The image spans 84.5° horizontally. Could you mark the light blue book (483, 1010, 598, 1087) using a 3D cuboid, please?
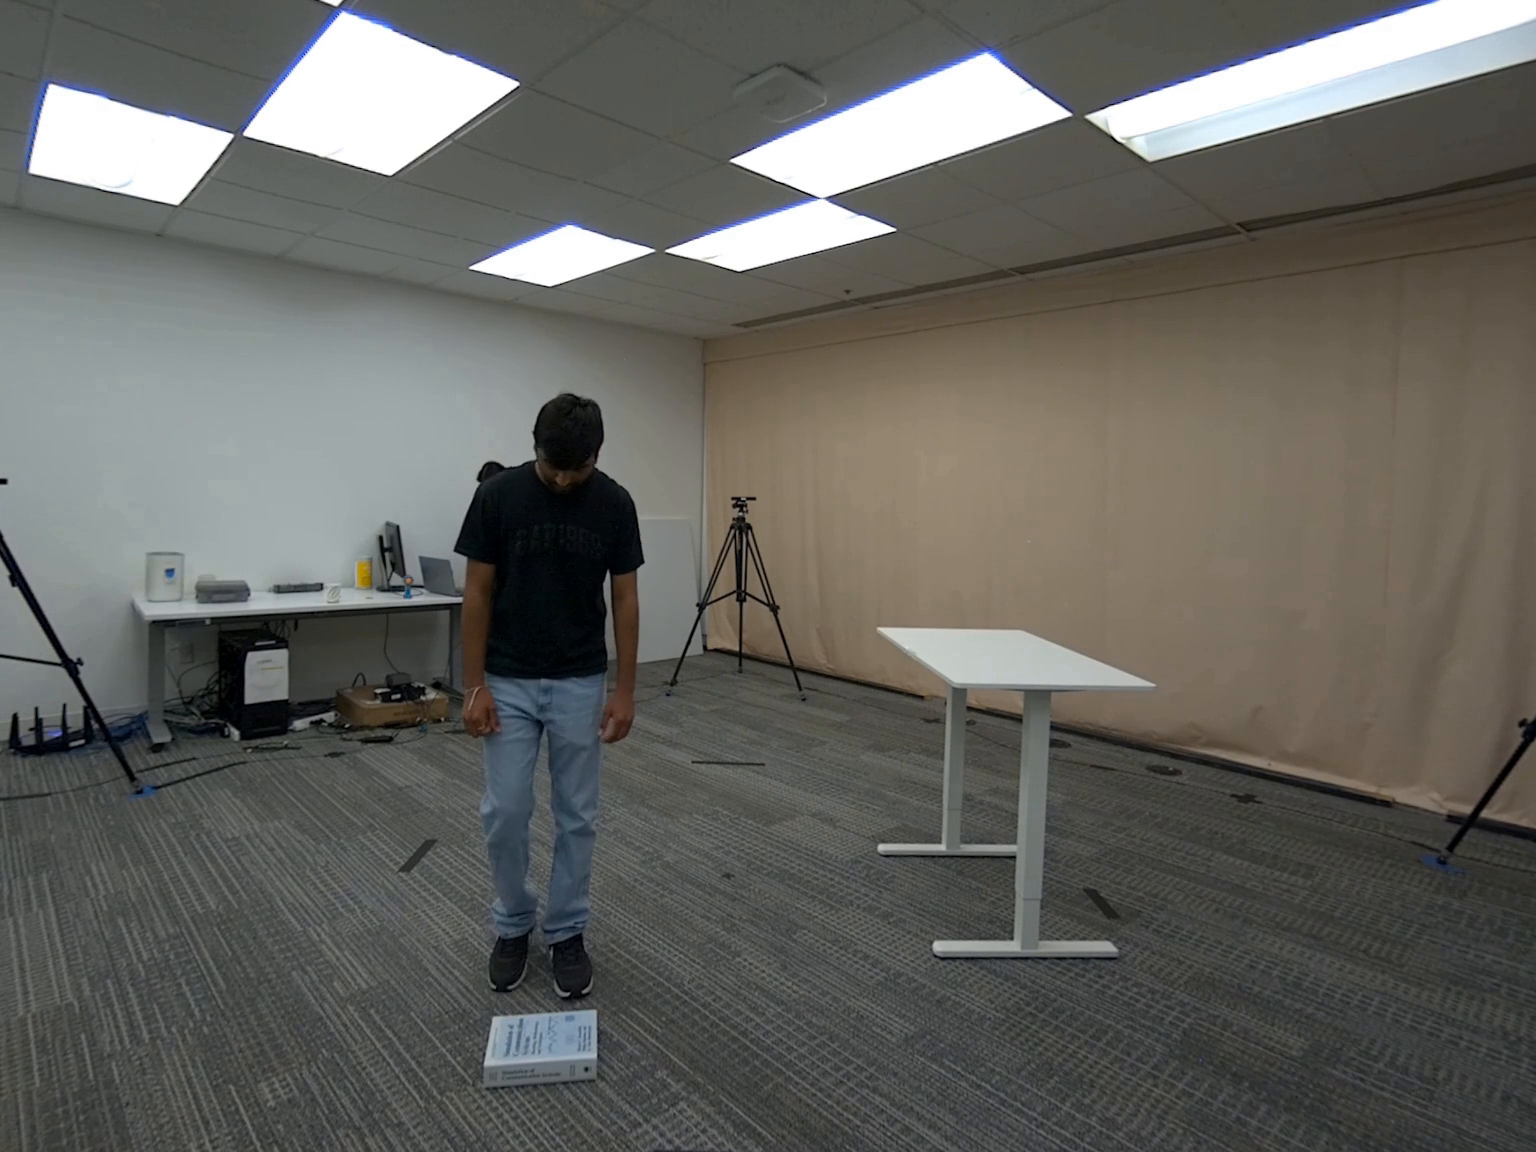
[{"bbox_3d":[-0.567,1.169,2.061,0.259,0.059,0.193,1,5,-11],"label":"light blue book"}]
